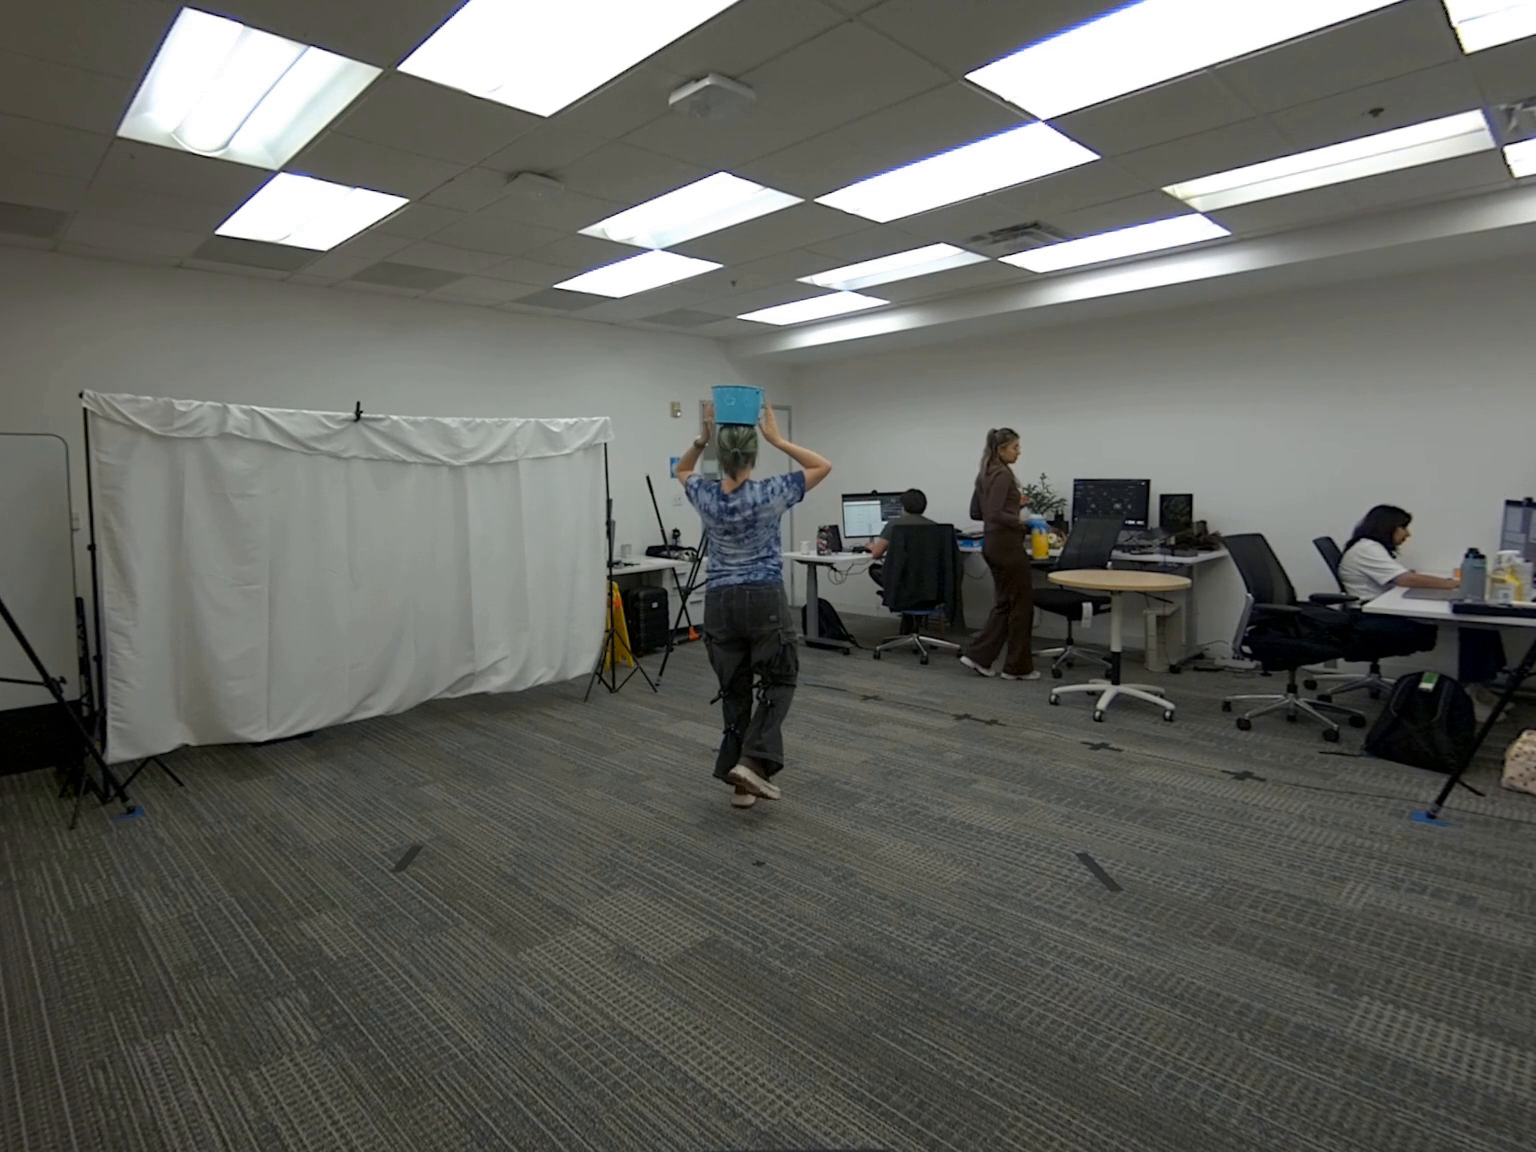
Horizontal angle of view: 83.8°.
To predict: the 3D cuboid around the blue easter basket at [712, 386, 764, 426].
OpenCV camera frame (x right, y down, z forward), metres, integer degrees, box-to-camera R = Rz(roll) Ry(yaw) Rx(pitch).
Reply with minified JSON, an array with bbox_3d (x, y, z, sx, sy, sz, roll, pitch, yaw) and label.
[{"bbox_3d":[-0.135,-0.719,3.652,0.243,0.155,0.245,2,5,-2],"label":"blue easter basket"}]
